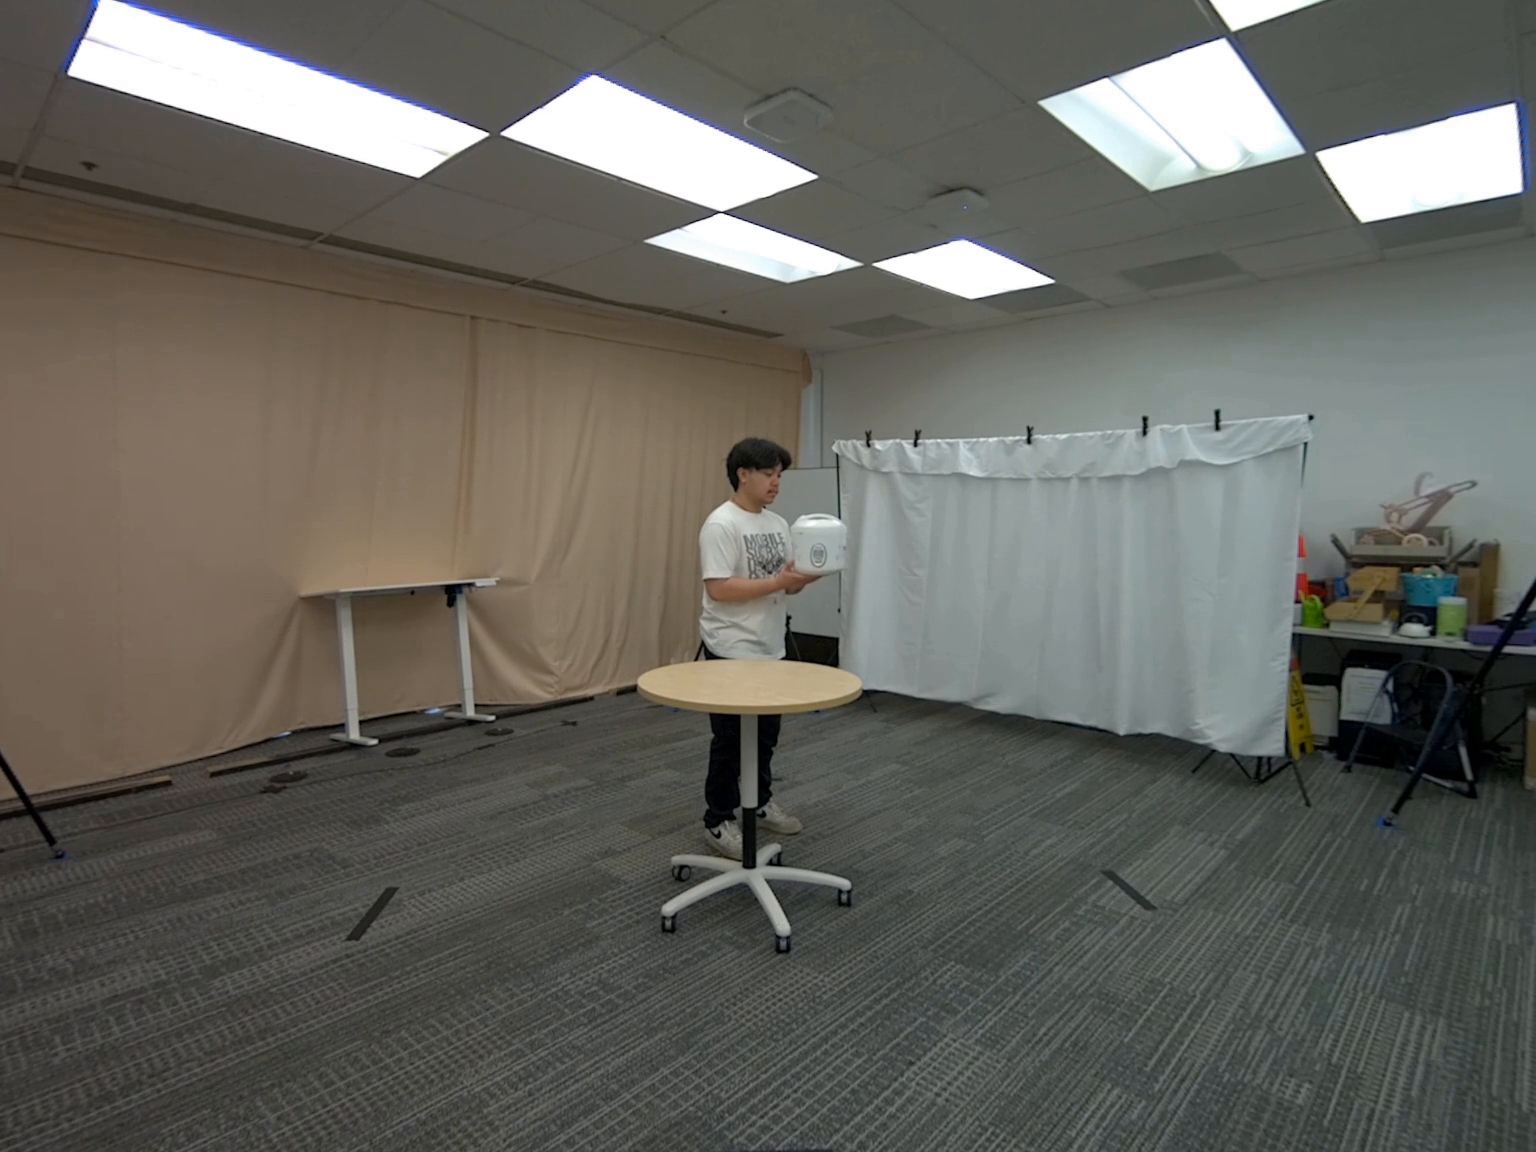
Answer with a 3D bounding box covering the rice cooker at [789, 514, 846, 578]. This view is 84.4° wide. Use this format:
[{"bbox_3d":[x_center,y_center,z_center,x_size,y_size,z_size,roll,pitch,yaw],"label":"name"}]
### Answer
[{"bbox_3d":[0.200,-0.123,3.269,0.222,0.232,0.217,0,5,4],"label":"rice cooker"}]
